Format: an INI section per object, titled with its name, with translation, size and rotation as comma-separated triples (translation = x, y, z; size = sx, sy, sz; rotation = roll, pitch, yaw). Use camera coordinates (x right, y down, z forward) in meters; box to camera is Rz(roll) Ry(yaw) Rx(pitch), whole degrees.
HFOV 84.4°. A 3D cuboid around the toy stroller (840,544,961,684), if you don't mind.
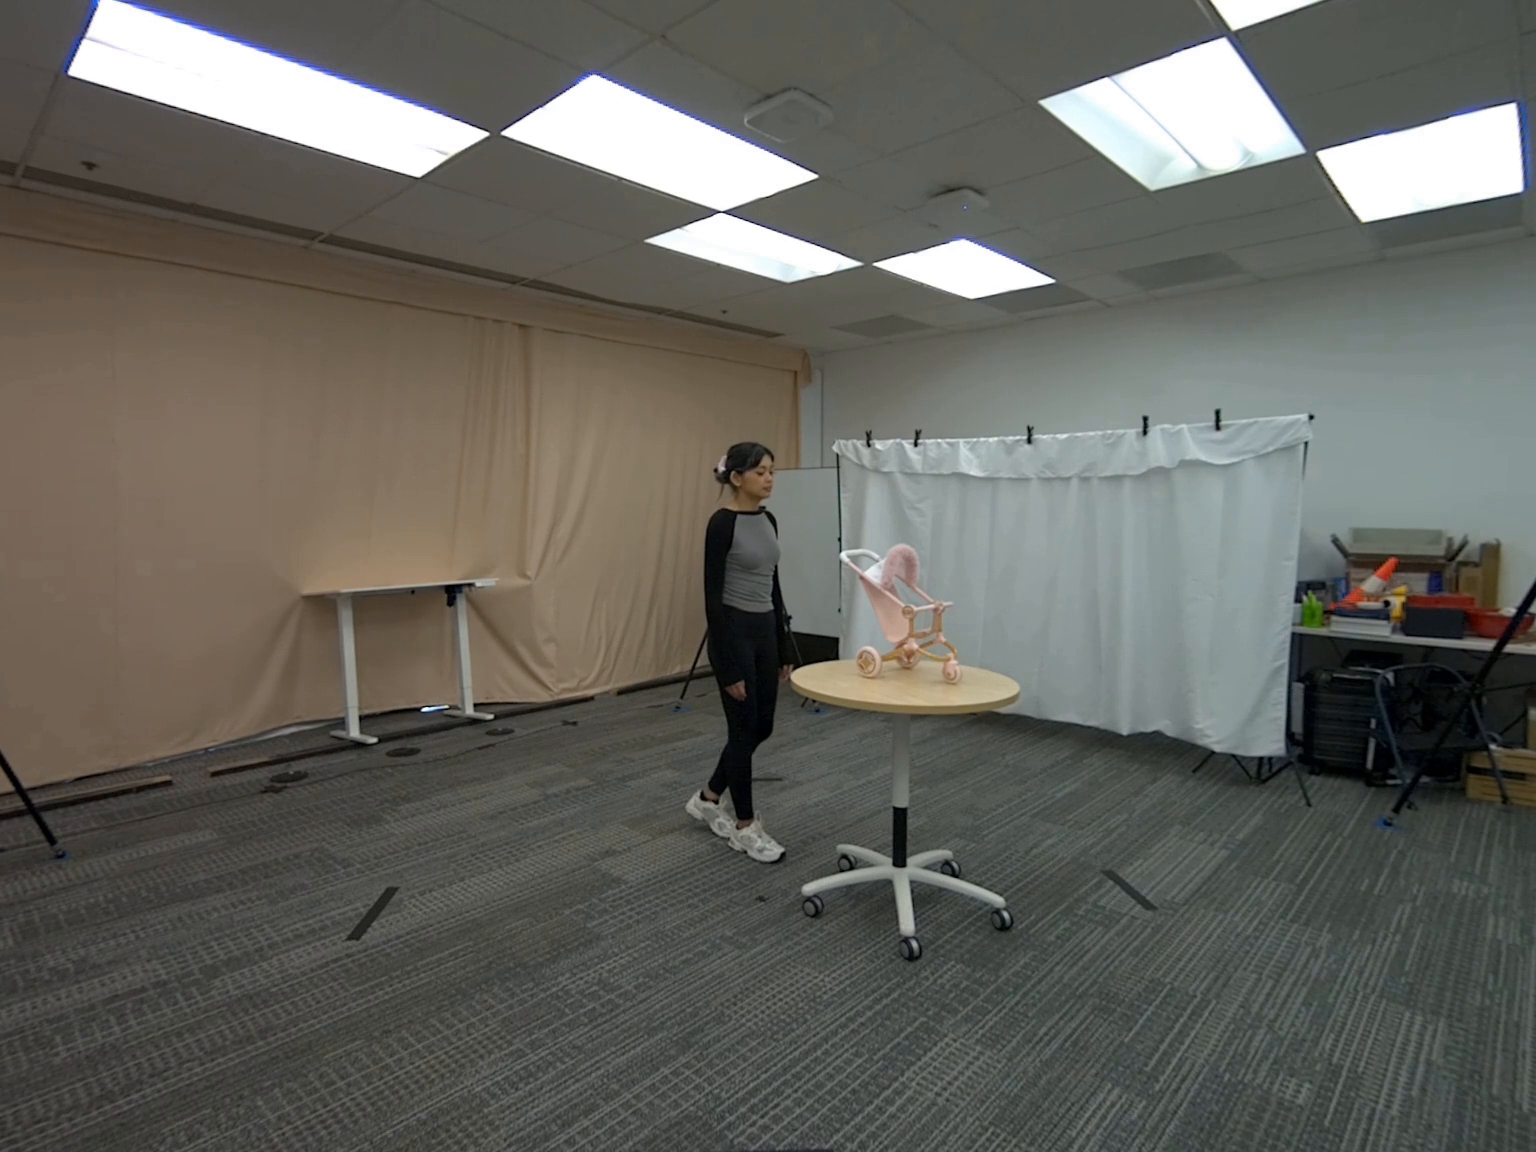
[toy stroller]
translation = 0.485, 0.130, 2.949
size = 0.273, 0.539, 0.349
rotation = -3, -11, -43
